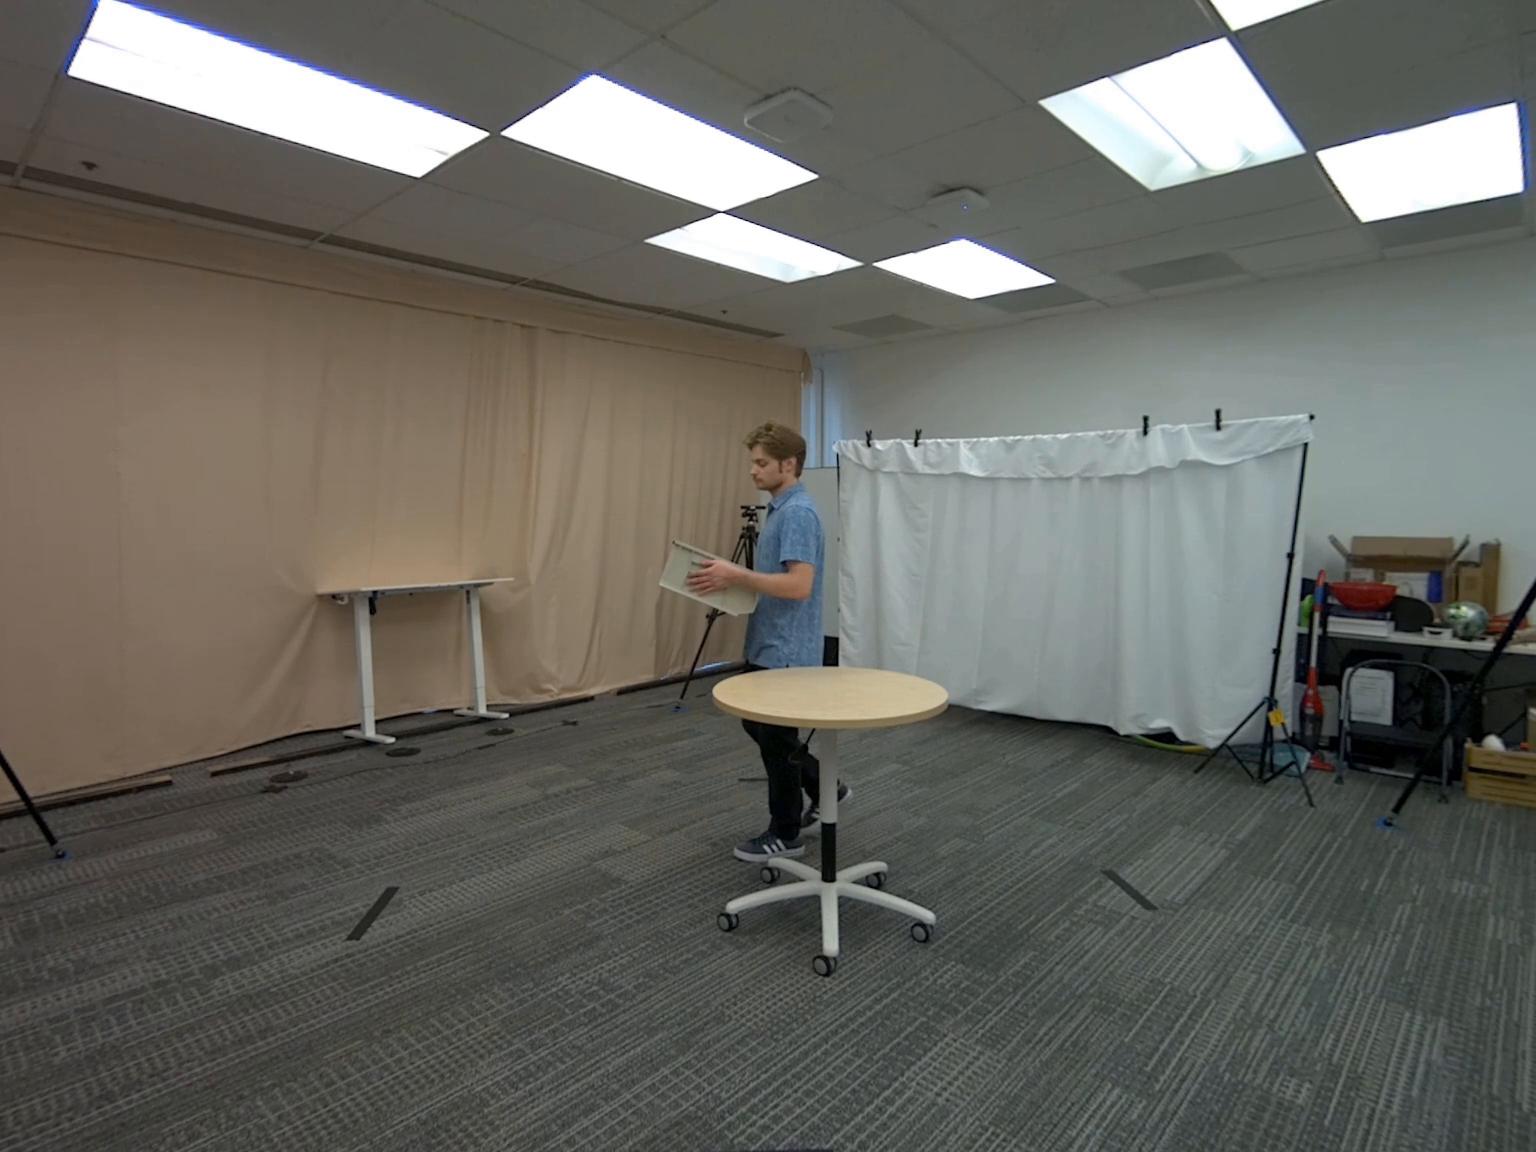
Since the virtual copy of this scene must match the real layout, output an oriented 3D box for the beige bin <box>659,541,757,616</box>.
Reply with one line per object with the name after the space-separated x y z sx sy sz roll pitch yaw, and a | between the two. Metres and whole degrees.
-0.229 0.017 3.323 0.375 0.189 0.425 21 -1 -6 | beige bin
